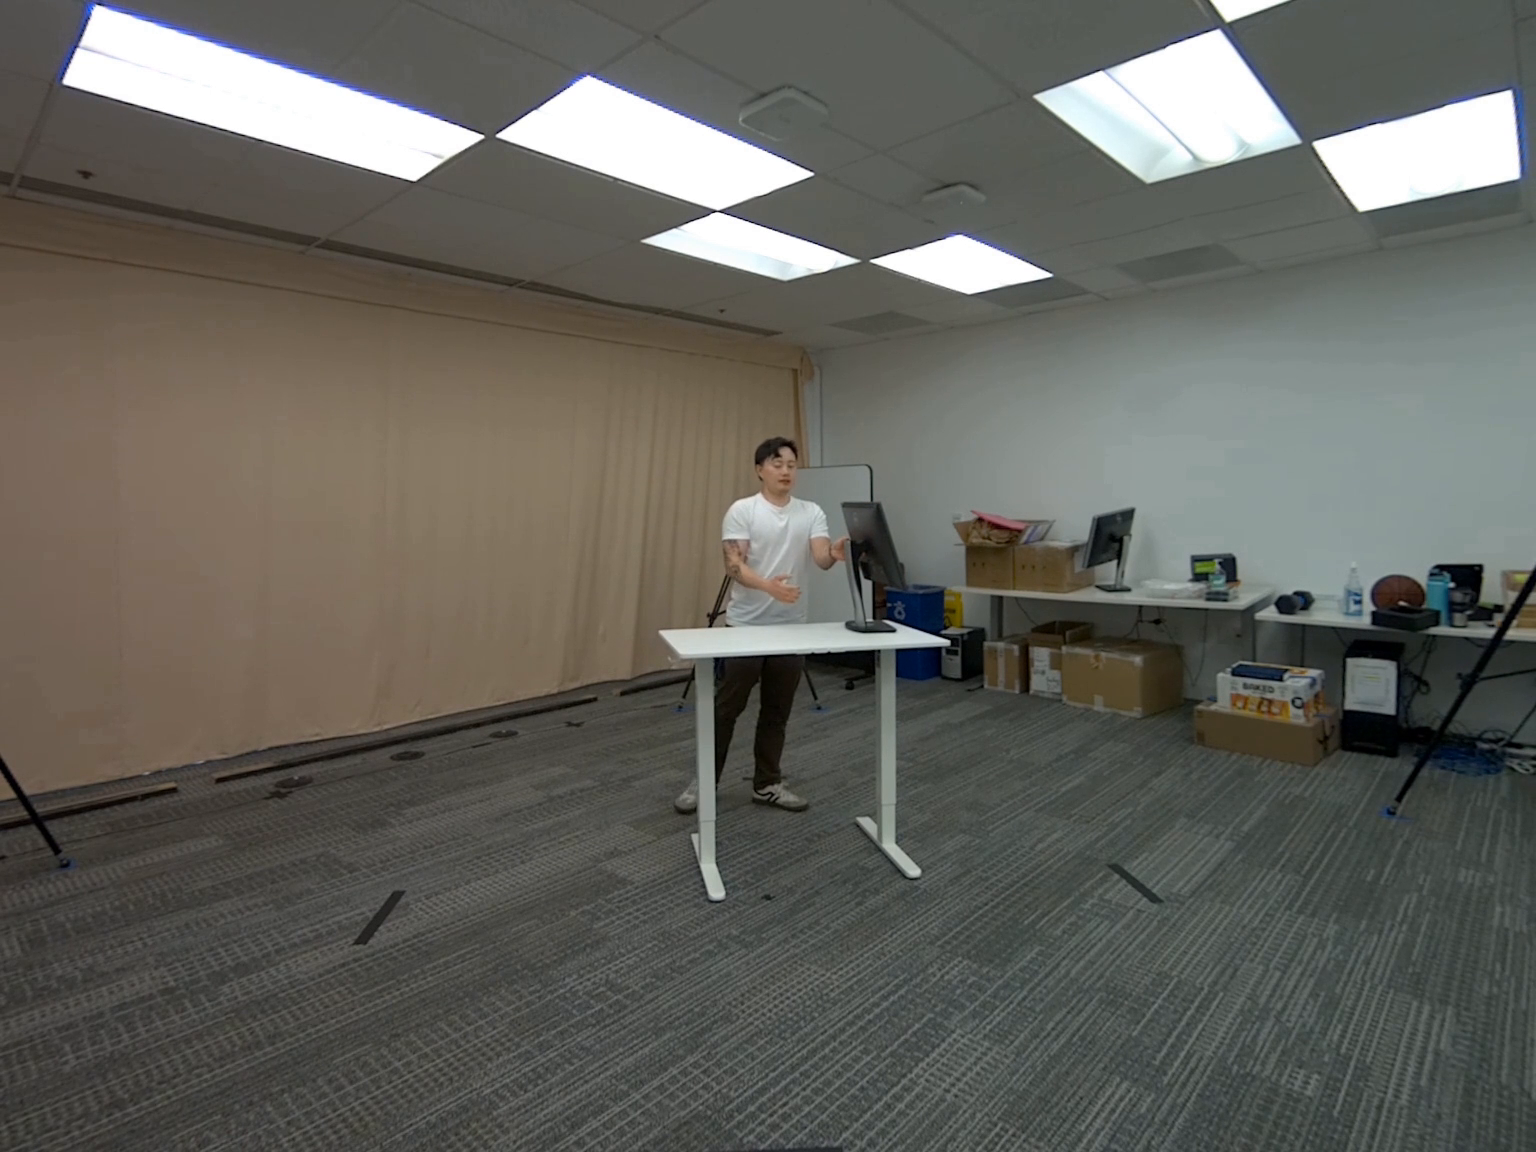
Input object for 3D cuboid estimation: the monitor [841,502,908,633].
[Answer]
[{"bbox_3d":[0.404,-0.039,3.427,0.185,0.521,0.545,-5,5,-10],"label":"monitor"}]
